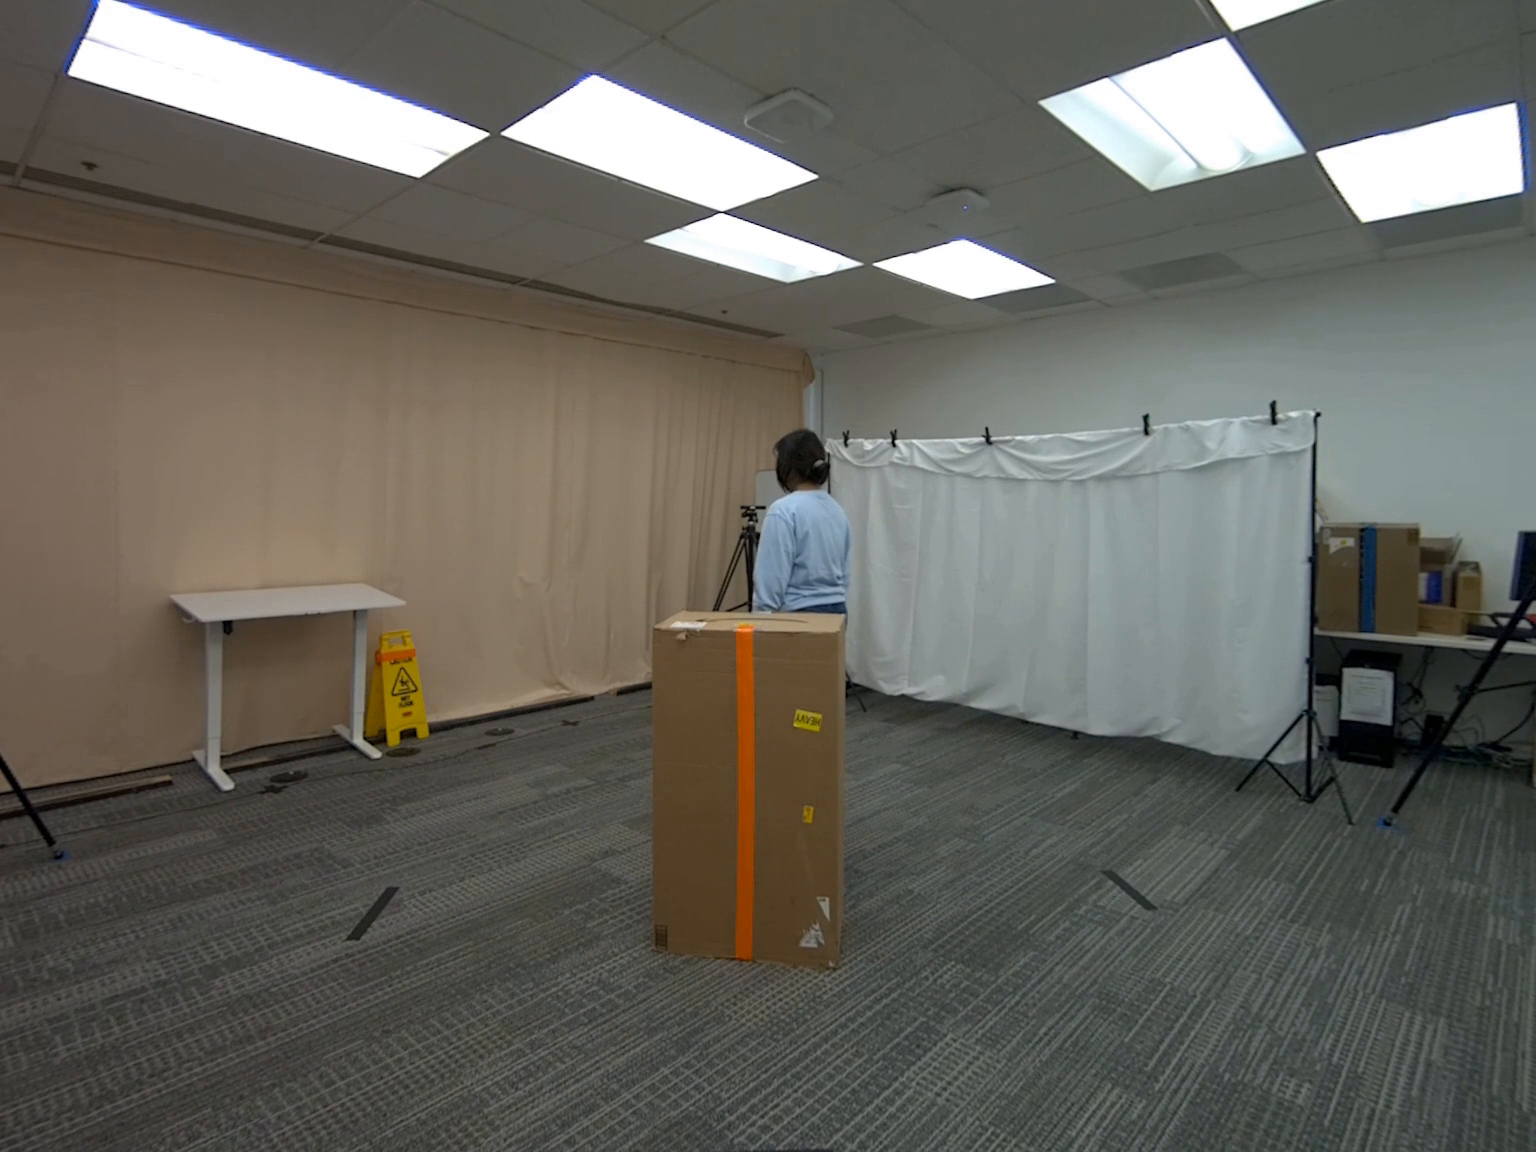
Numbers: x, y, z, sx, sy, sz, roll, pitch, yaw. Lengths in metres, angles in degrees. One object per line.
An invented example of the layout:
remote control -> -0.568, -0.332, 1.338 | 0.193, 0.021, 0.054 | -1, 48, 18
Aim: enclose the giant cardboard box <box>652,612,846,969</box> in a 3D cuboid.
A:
giant cardboard box -> -0.052, 0.653, 2.759 | 0.584, 1.024, 0.422 | 1, 3, 10
